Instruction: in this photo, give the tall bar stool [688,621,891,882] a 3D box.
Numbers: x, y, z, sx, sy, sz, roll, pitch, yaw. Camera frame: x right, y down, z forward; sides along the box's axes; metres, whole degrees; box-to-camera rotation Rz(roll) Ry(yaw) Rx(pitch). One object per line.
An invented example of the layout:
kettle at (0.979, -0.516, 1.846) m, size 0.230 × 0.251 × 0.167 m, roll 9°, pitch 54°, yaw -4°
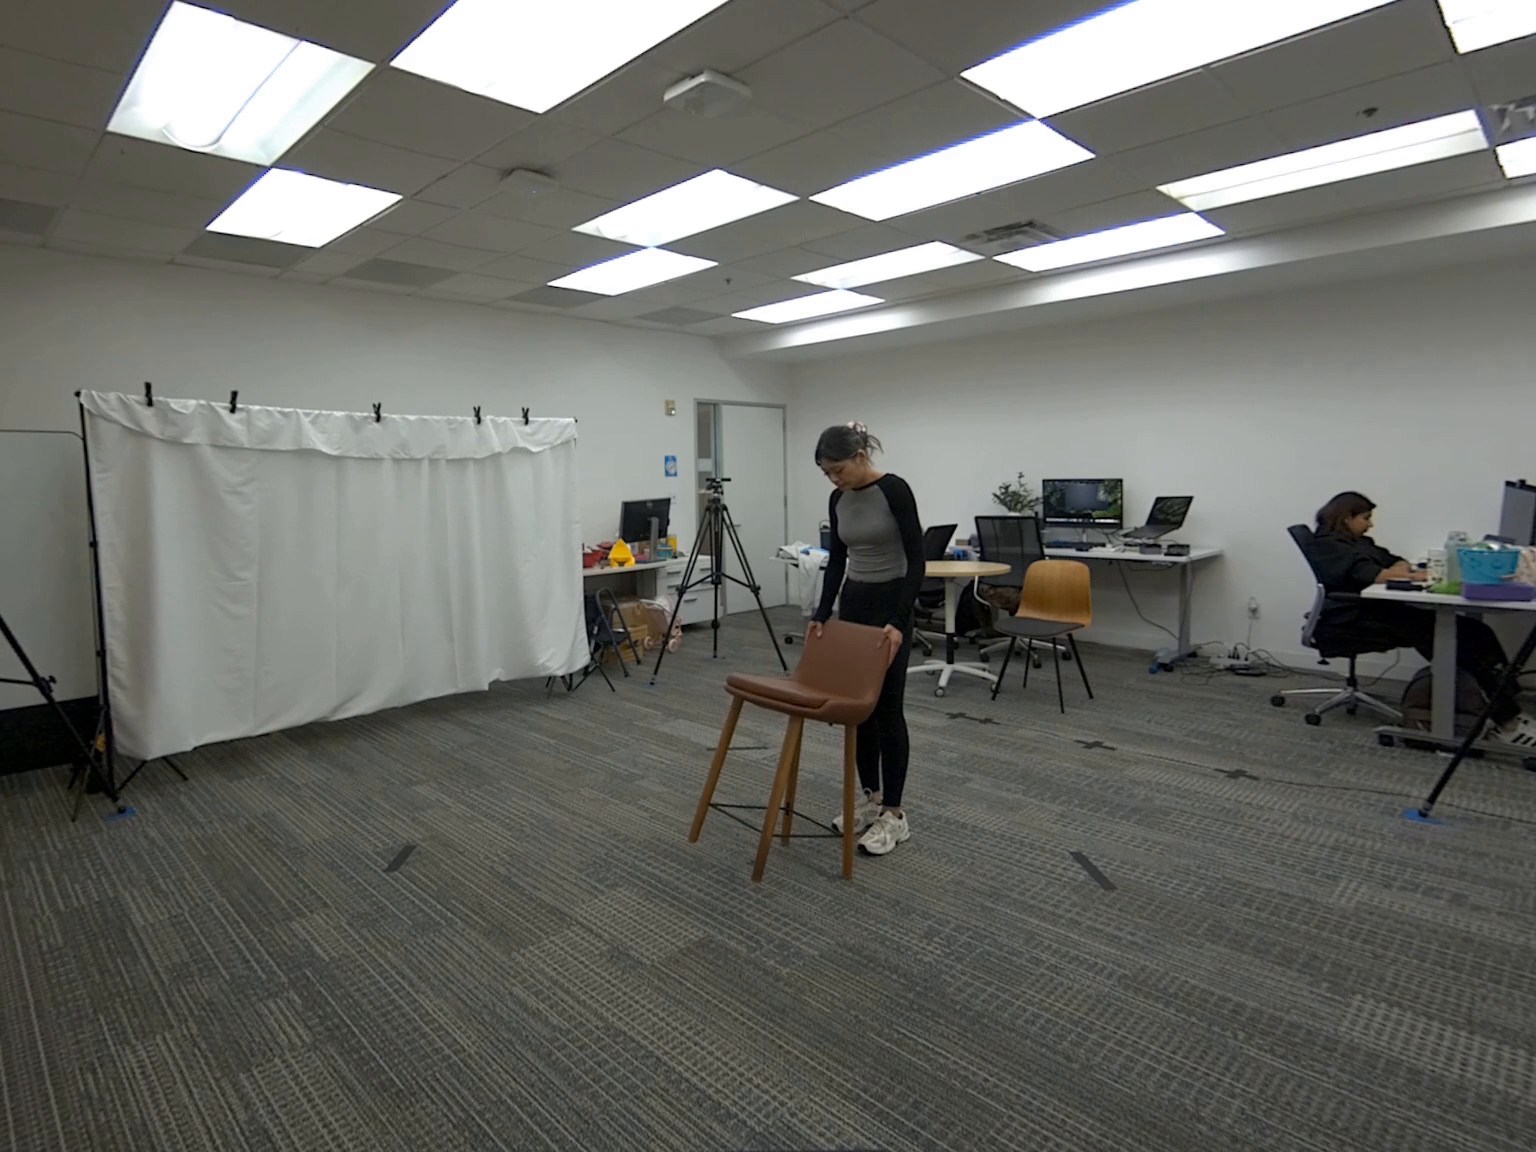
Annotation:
tall bar stool at (0.100, 0.574, 3.041) m, size 0.452 × 0.893 × 0.470 m, roll 16°, pitch -7°, yaw -36°
